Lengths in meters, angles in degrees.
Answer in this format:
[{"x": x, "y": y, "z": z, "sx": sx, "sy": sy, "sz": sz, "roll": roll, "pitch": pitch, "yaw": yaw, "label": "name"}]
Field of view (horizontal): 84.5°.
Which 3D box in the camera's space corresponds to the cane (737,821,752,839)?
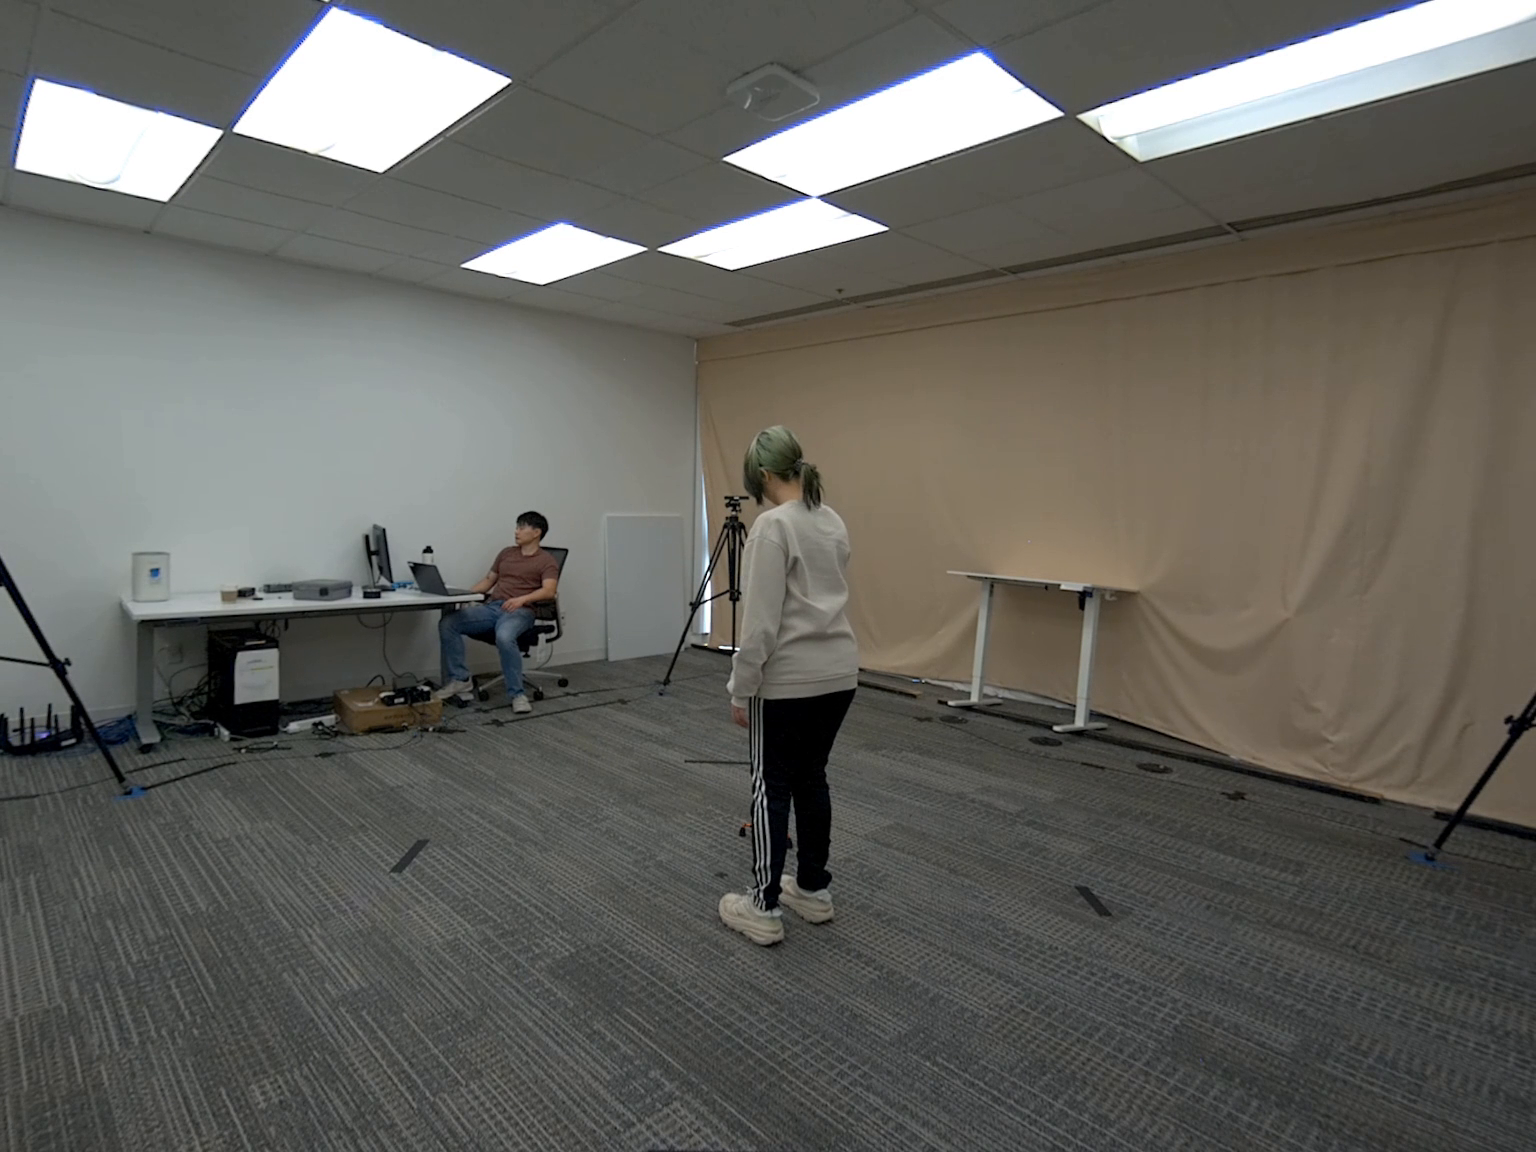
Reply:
[{"x": 0.001, "y": 0.633, "z": 3.400, "sx": 0.149, "sy": 0.906, "sz": 0.211, "roll": 1, "pitch": 3, "yaw": -26, "label": "cane"}]
